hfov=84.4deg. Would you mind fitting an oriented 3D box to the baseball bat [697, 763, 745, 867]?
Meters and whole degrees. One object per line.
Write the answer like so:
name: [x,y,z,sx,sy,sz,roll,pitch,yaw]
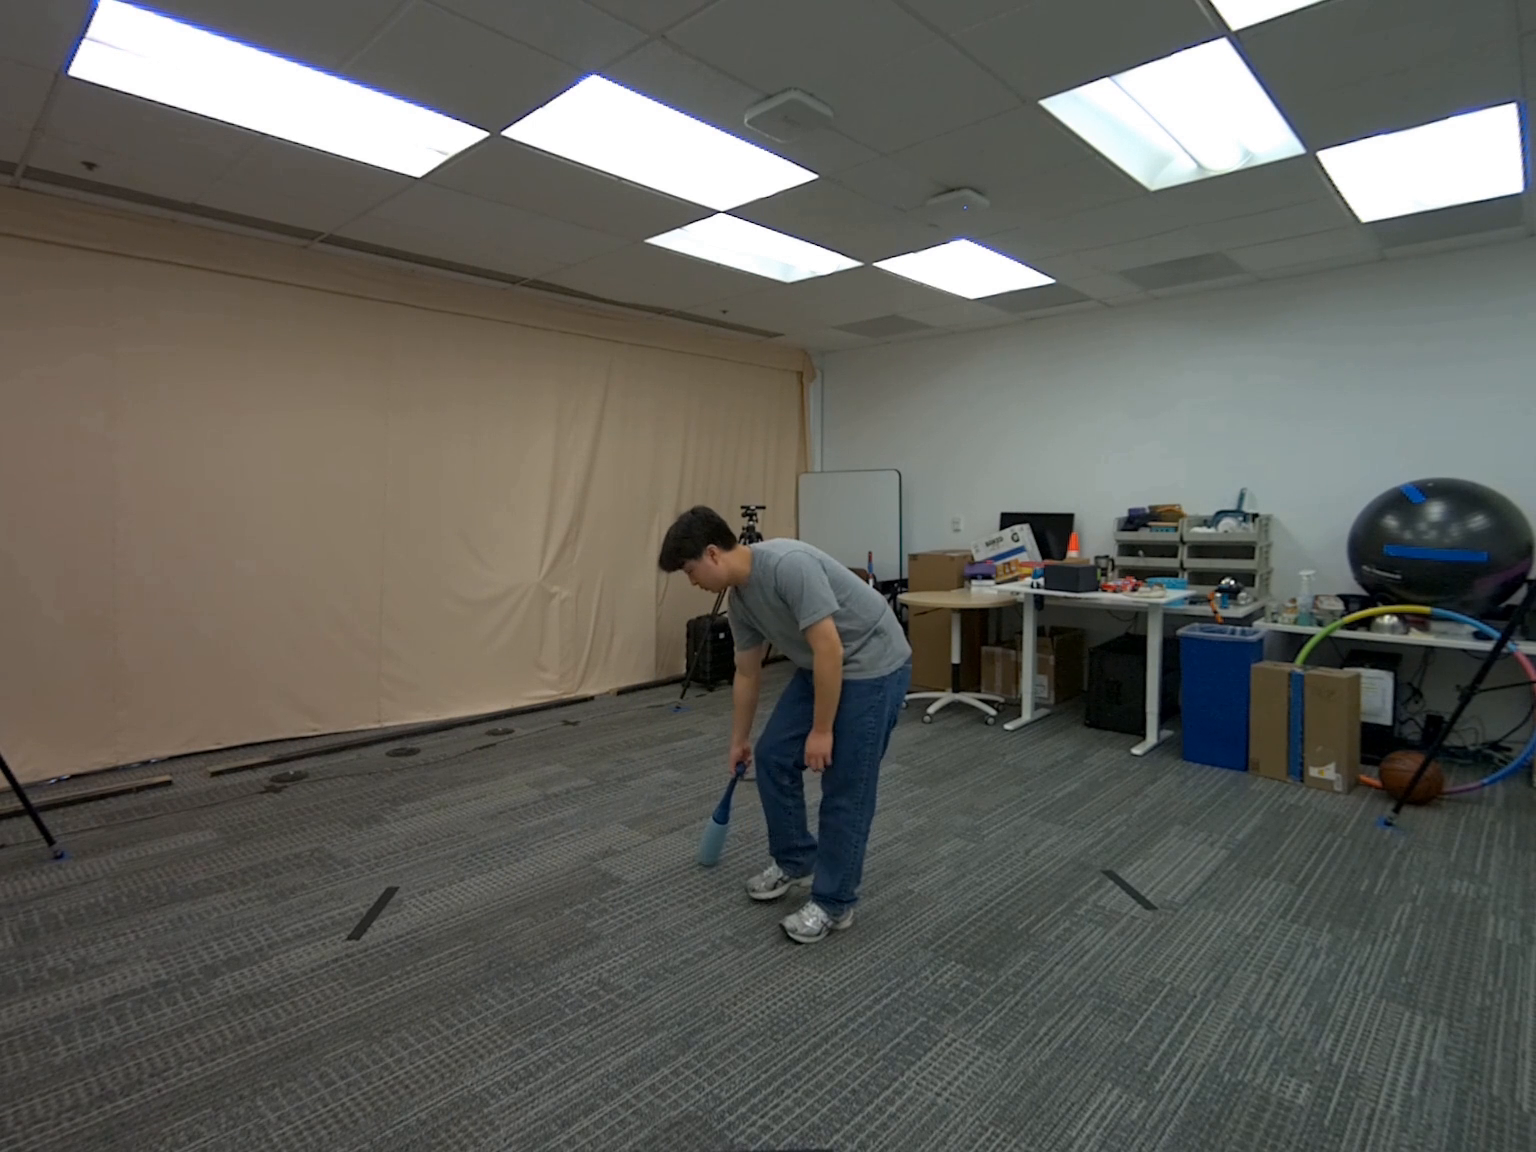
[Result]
baseball bat: [-0.172,0.896,3.141,0.088,0.538,0.091,11,34,-10]
